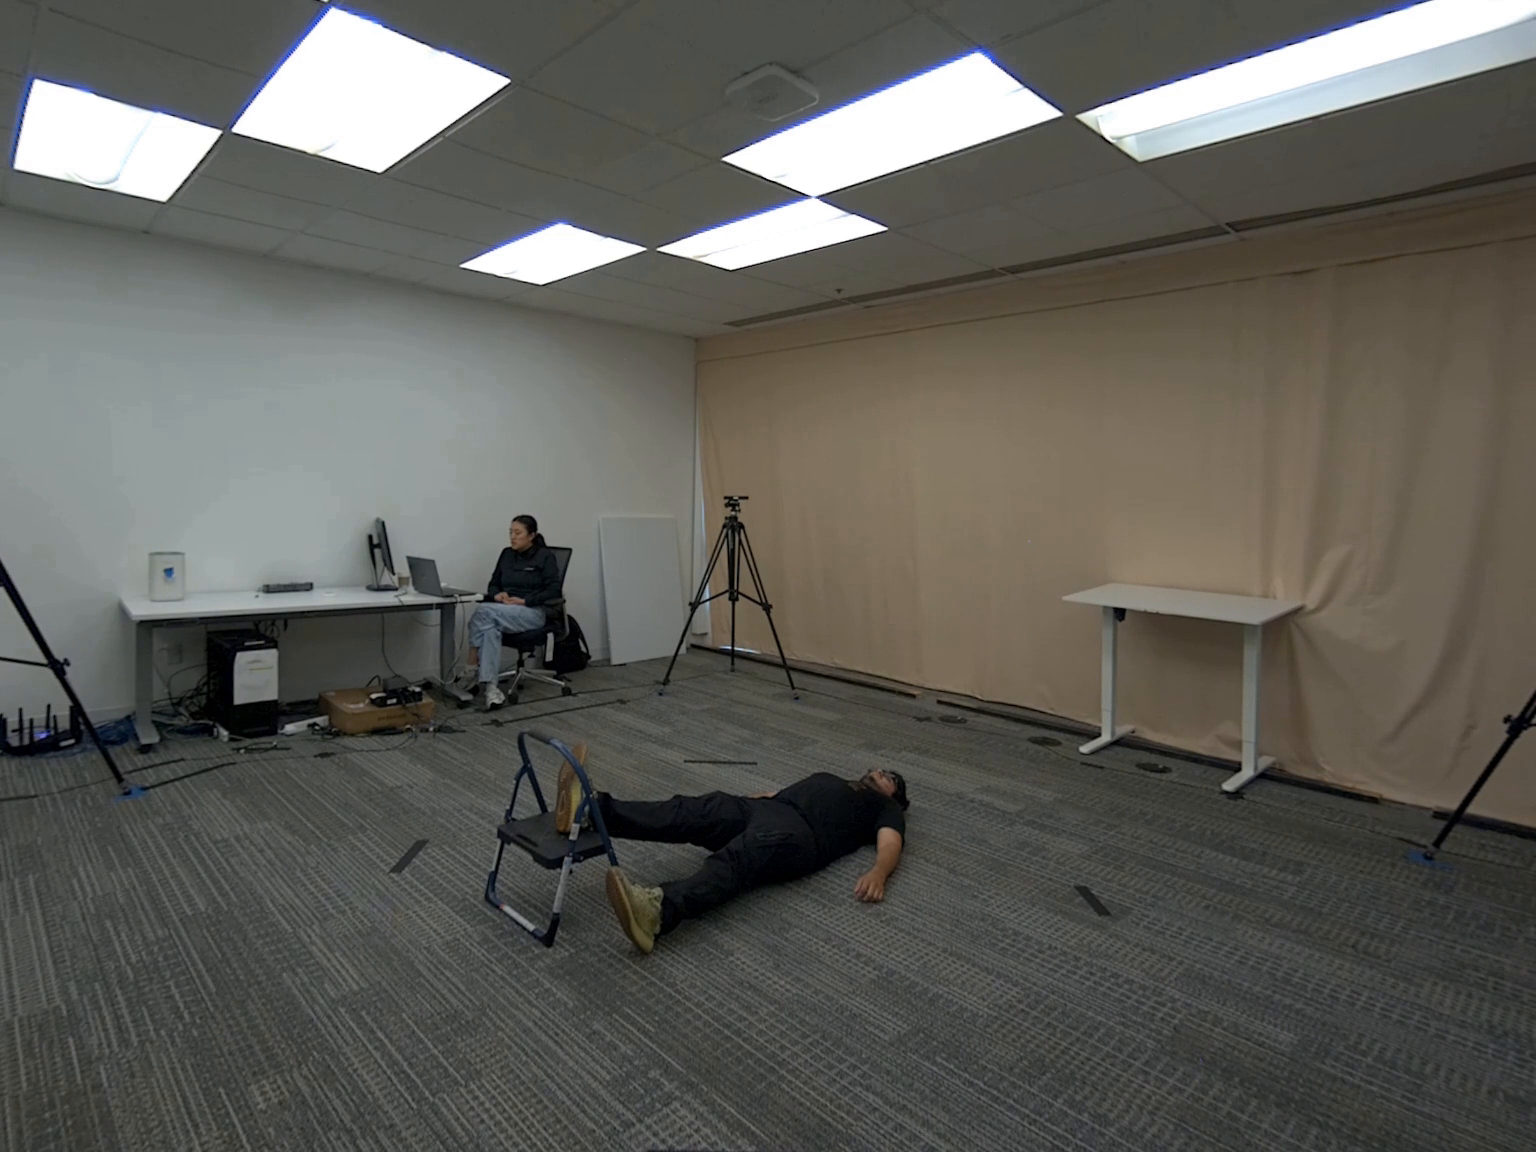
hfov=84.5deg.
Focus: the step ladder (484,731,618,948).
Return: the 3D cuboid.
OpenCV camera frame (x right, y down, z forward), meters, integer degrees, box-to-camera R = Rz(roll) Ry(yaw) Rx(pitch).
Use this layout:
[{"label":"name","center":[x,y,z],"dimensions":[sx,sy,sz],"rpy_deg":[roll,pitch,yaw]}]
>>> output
[{"label":"step ladder","center":[-0.703,0.815,2.821],"dimensions":[0.441,0.604,0.341],"rpy_deg":[4,5,45]}]
